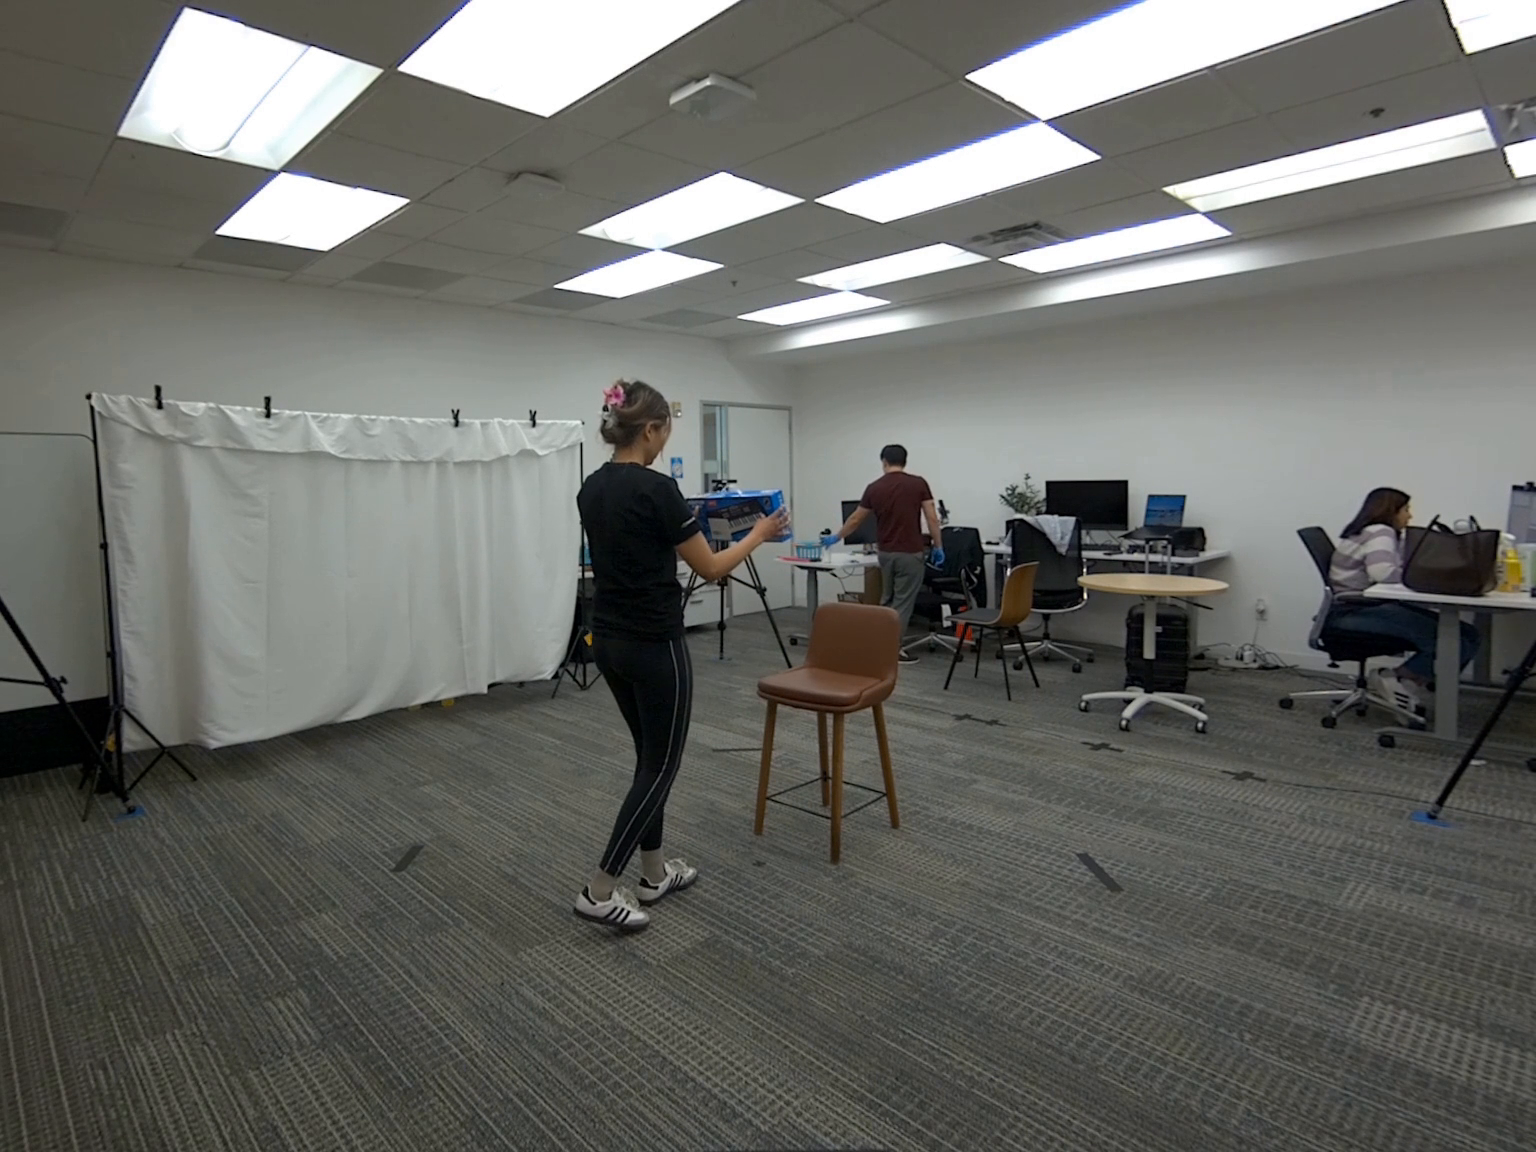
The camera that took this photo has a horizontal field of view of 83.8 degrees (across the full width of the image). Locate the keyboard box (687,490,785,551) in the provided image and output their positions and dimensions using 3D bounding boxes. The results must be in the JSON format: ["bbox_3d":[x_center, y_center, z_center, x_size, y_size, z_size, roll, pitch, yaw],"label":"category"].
[{"bbox_3d":[-0.111,-0.209,3.064,0.450,0.173,0.058,2,19,44],"label":"keyboard box"}]
